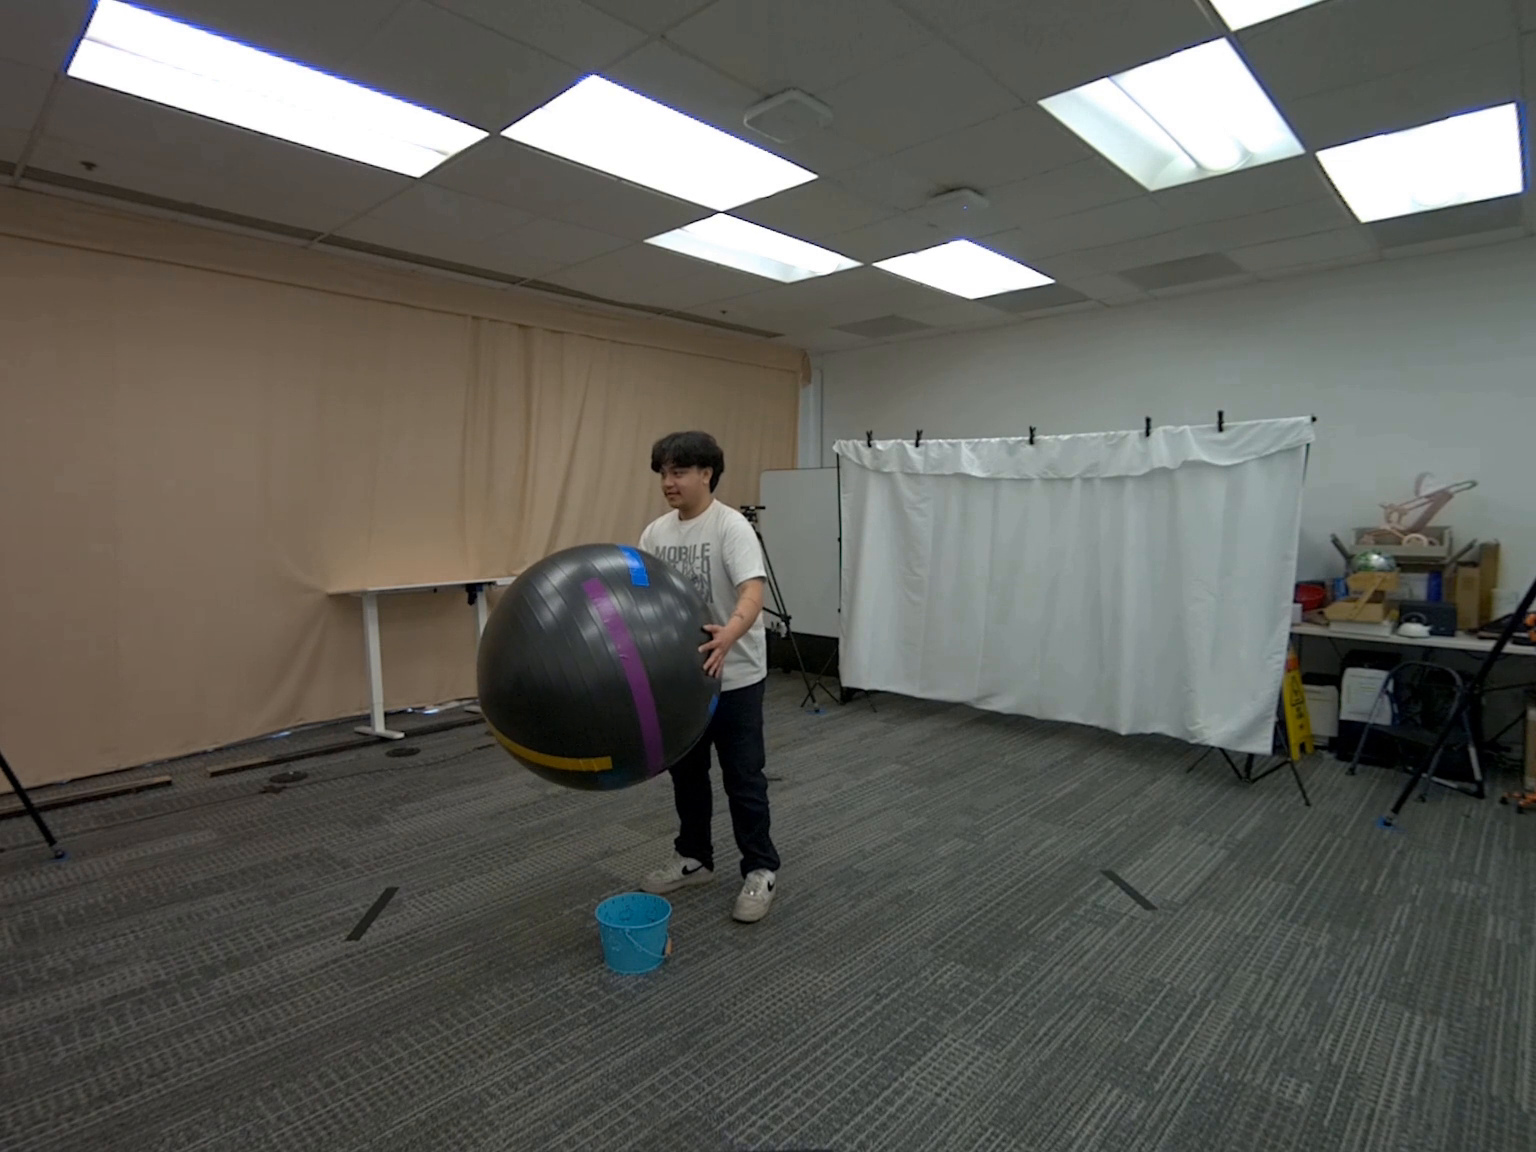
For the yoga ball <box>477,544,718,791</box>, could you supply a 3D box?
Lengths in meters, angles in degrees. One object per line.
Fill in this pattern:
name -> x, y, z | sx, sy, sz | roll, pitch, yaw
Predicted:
yoga ball -> -0.532, 0.281, 2.621 | 0.757, 0.756, 0.760 | 0, 4, -2
